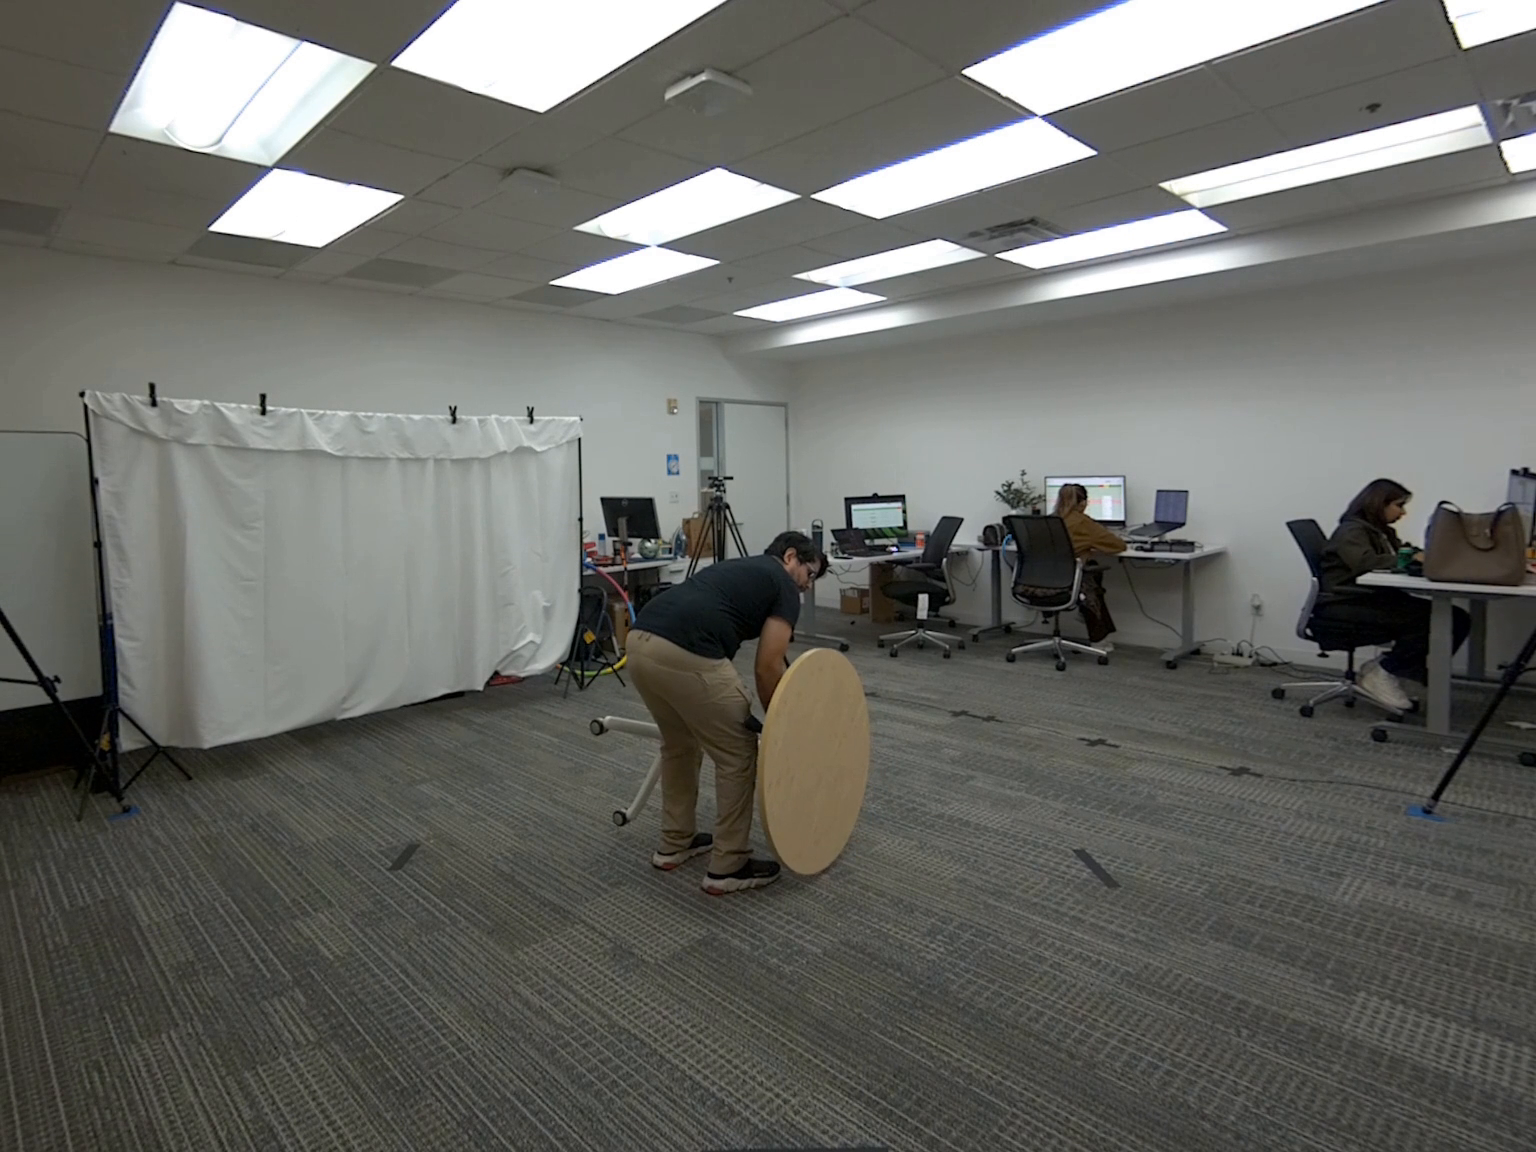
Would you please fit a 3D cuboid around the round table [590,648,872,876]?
[{"bbox_3d":[-0.141,0.629,3.218,0.808,0.783,0.766,0,5,34],"label":"round table"}]
